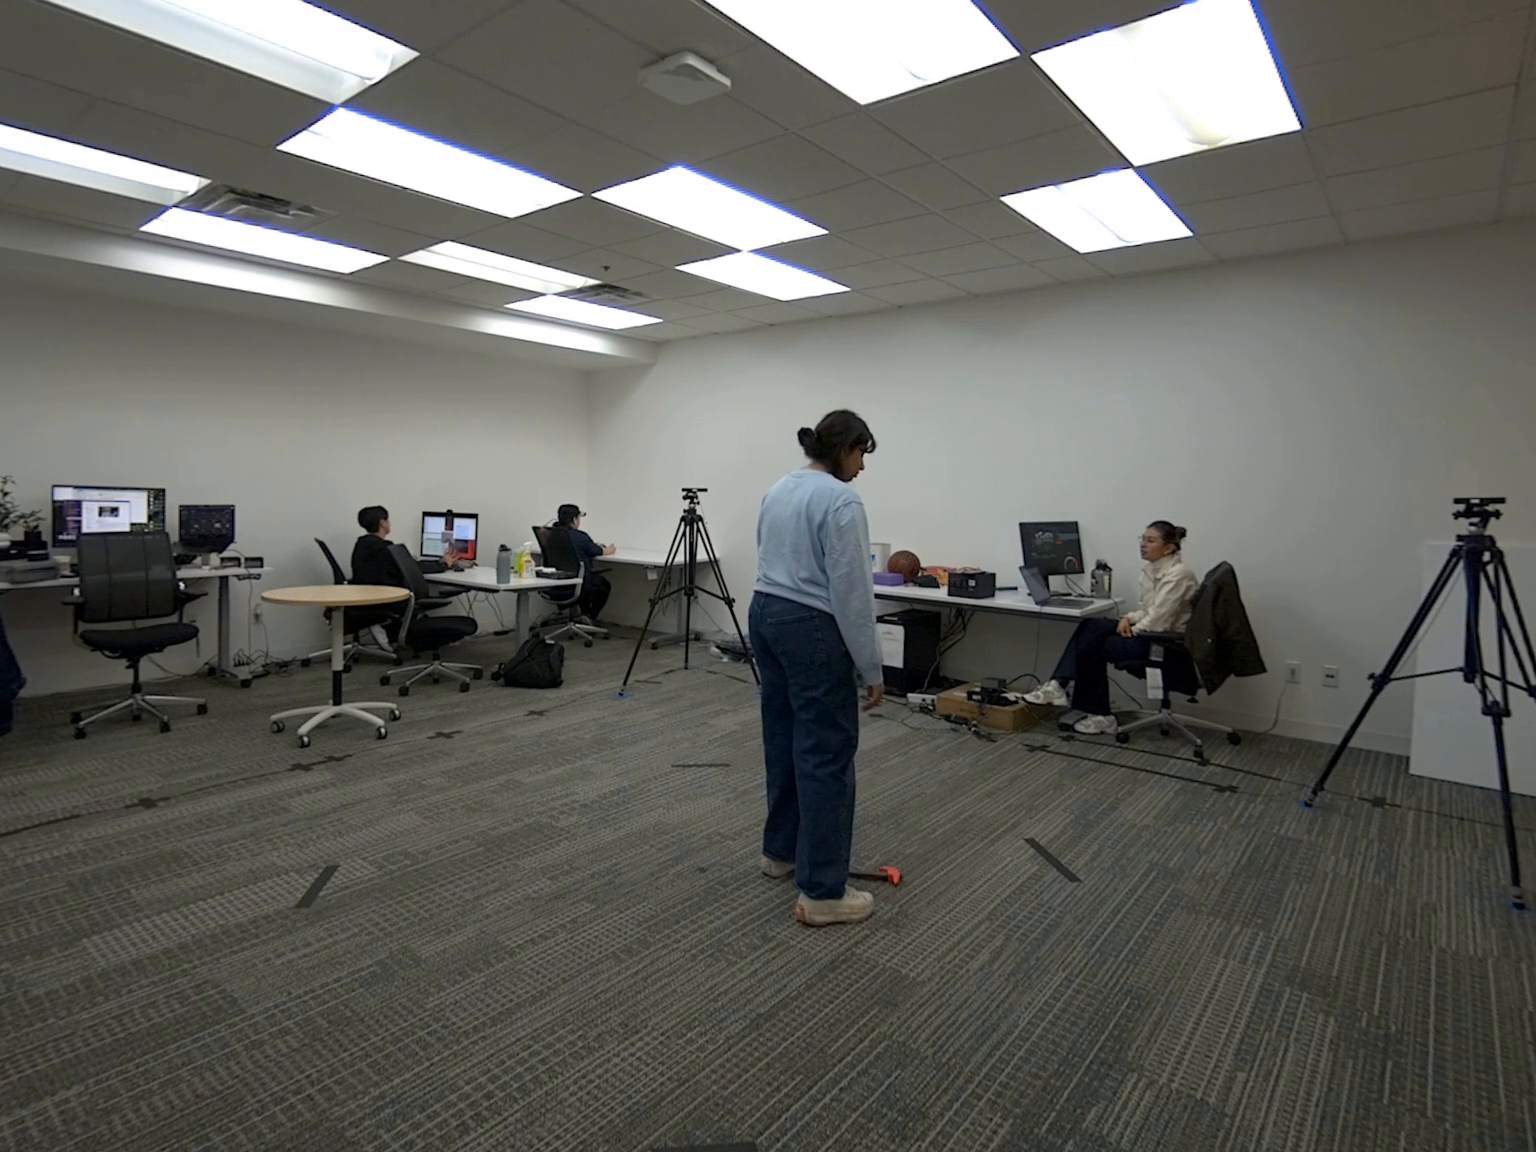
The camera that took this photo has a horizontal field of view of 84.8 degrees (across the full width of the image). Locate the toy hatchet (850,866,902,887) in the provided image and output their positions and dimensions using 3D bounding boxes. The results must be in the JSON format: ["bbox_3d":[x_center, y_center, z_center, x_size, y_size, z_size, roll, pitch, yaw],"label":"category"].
[{"bbox_3d":[0.352,1.072,3.096,0.277,0.029,0.128,2,6,26],"label":"toy hatchet"}]
